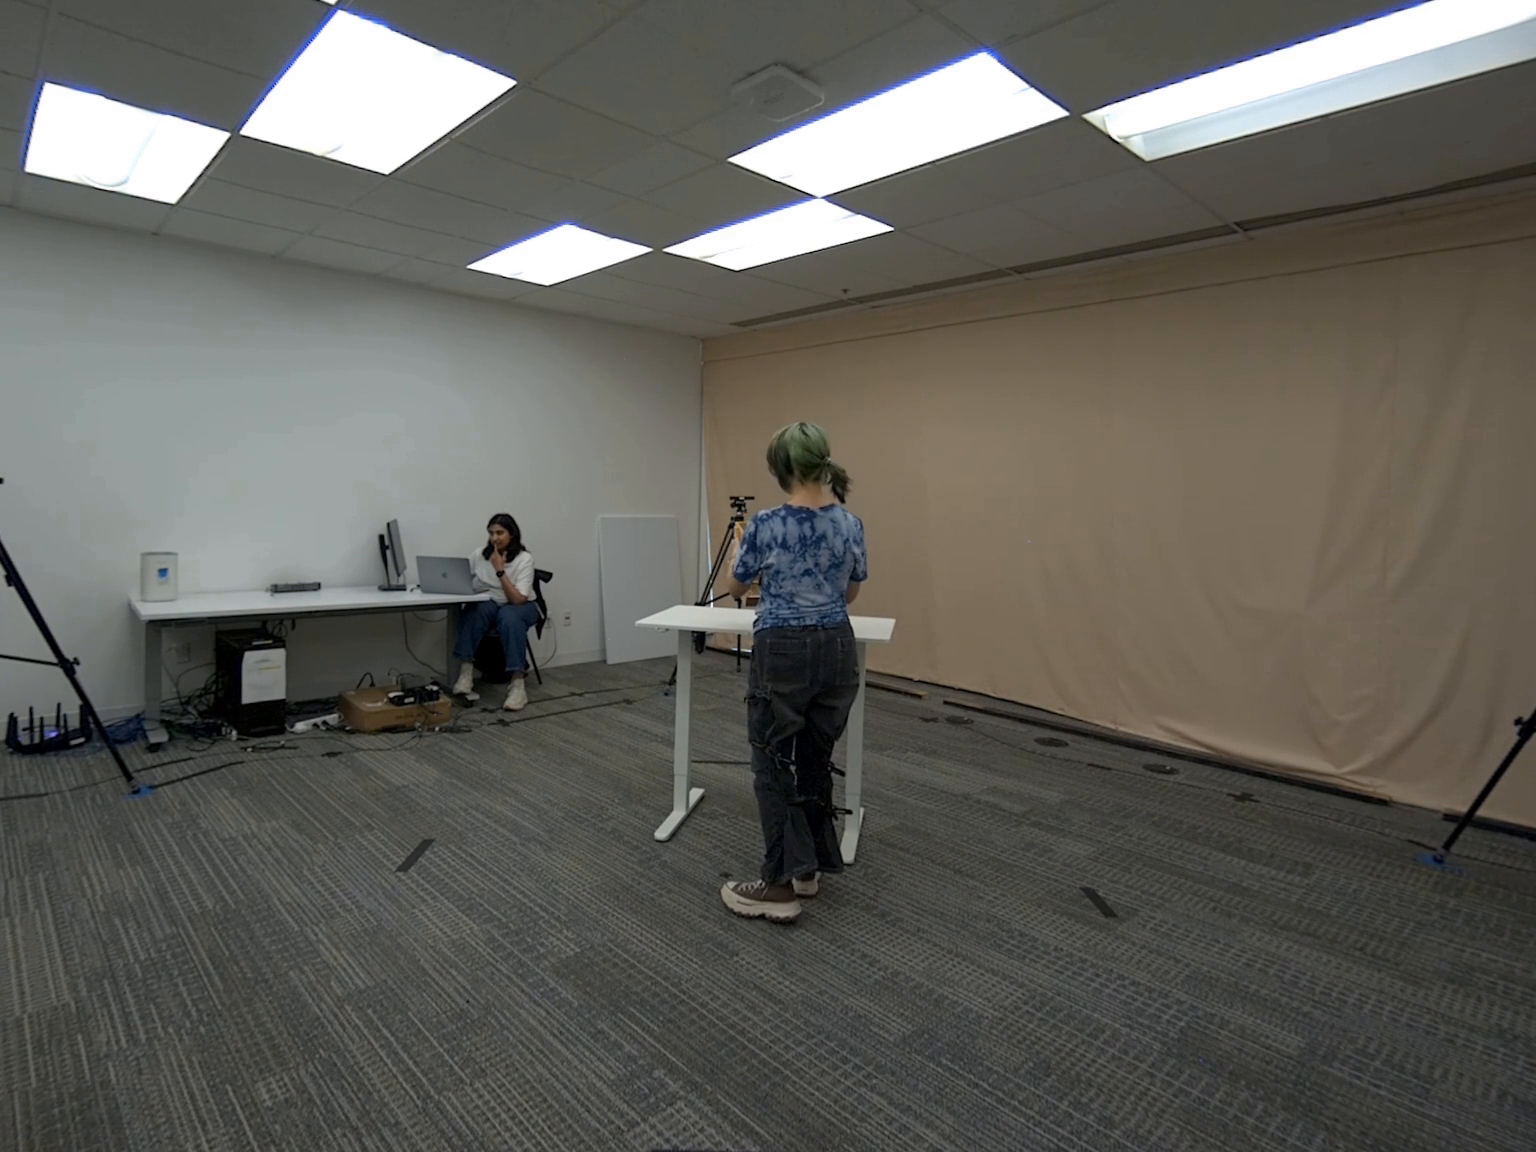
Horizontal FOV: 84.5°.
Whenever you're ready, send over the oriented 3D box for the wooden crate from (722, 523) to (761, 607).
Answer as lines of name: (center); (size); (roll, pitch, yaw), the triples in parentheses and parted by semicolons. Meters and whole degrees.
wooden crate: (0.034, -0.043, 3.260); (0.323, 0.270, 0.307); (1, 18, -7)
